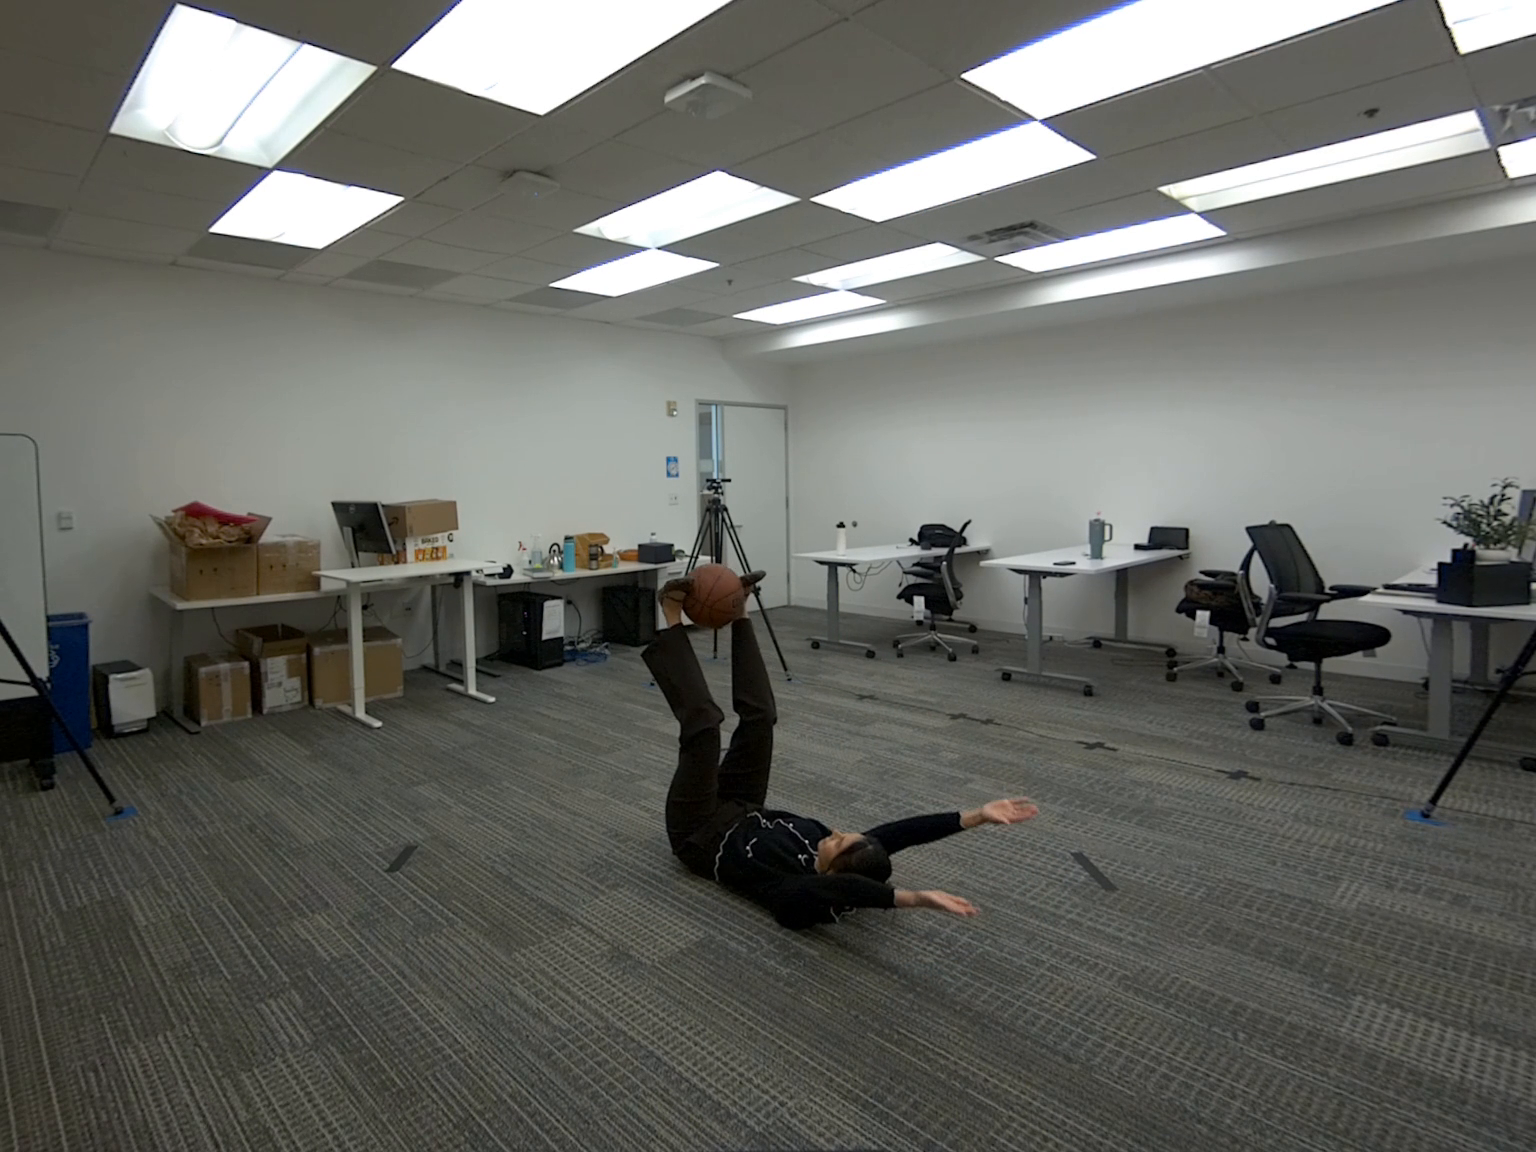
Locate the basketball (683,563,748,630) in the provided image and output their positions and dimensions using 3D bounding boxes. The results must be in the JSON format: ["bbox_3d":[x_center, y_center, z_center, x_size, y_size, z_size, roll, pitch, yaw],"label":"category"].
[{"bbox_3d":[-0.202,0.071,3.110,0.236,0.235,0.237,-1,5,-2],"label":"basketball"}]
